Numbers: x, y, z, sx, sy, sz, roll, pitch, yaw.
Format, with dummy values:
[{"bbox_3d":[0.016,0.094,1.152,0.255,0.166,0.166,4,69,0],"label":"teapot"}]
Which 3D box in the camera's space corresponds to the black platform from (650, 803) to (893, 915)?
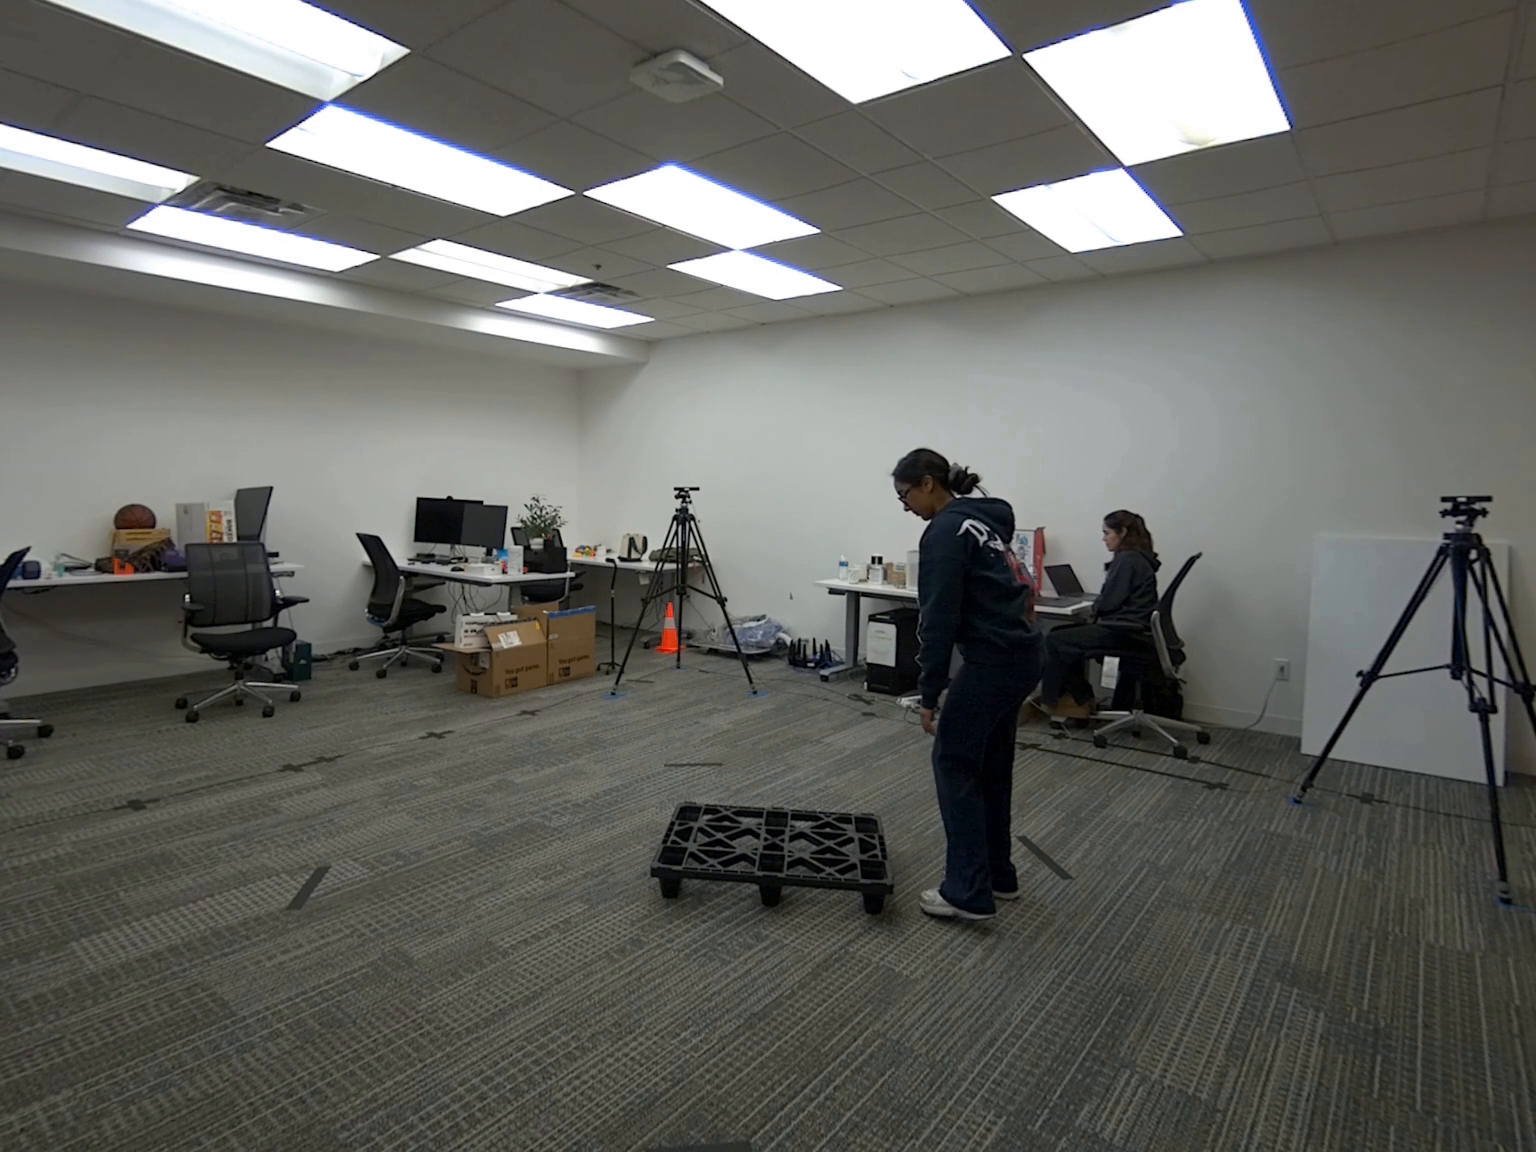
[{"bbox_3d":[0.015,1.007,3.062,0.811,0.143,0.604,2,6,5],"label":"black platform"}]
